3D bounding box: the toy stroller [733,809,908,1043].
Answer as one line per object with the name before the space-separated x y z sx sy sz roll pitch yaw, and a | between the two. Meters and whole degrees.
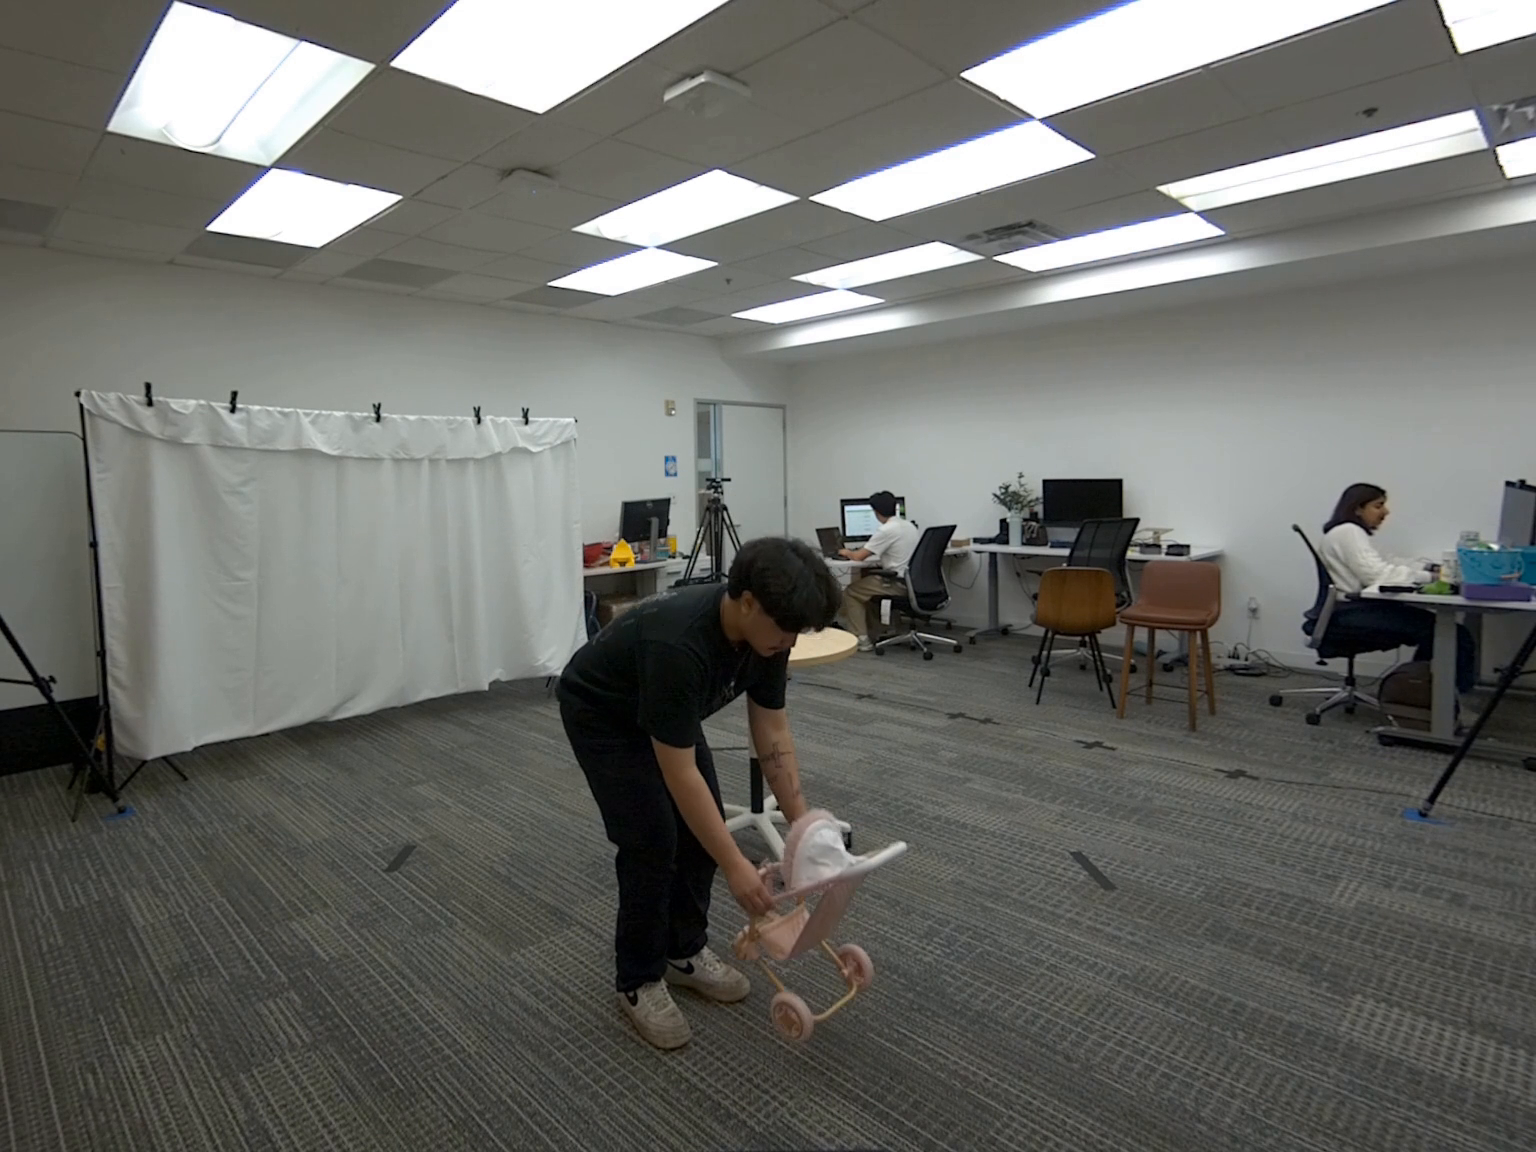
toy stroller | 0.088 0.777 2.014 0.274 0.529 0.354 -6 25 -45
